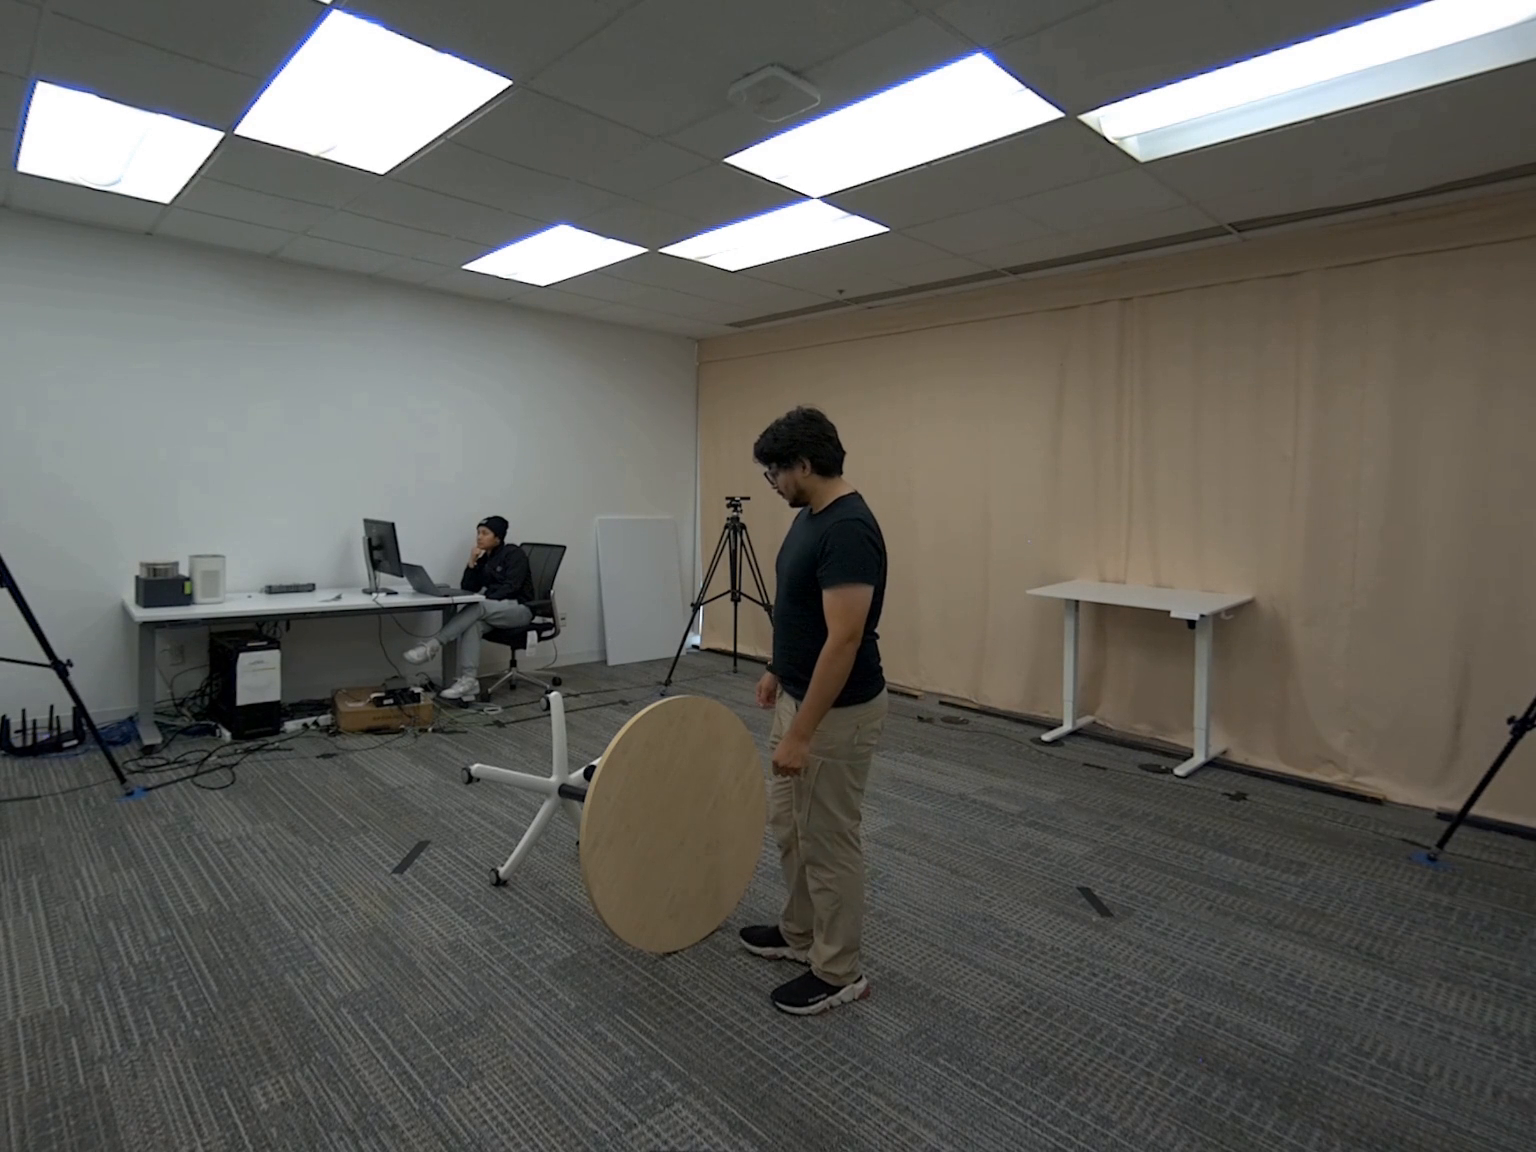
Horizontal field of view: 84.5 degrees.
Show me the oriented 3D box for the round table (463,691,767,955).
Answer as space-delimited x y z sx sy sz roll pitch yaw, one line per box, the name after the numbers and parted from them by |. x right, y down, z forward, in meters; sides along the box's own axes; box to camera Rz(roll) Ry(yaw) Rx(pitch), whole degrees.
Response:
-0.559 0.784 2.907 0.803 0.786 0.767 -5 -1 43 | round table
